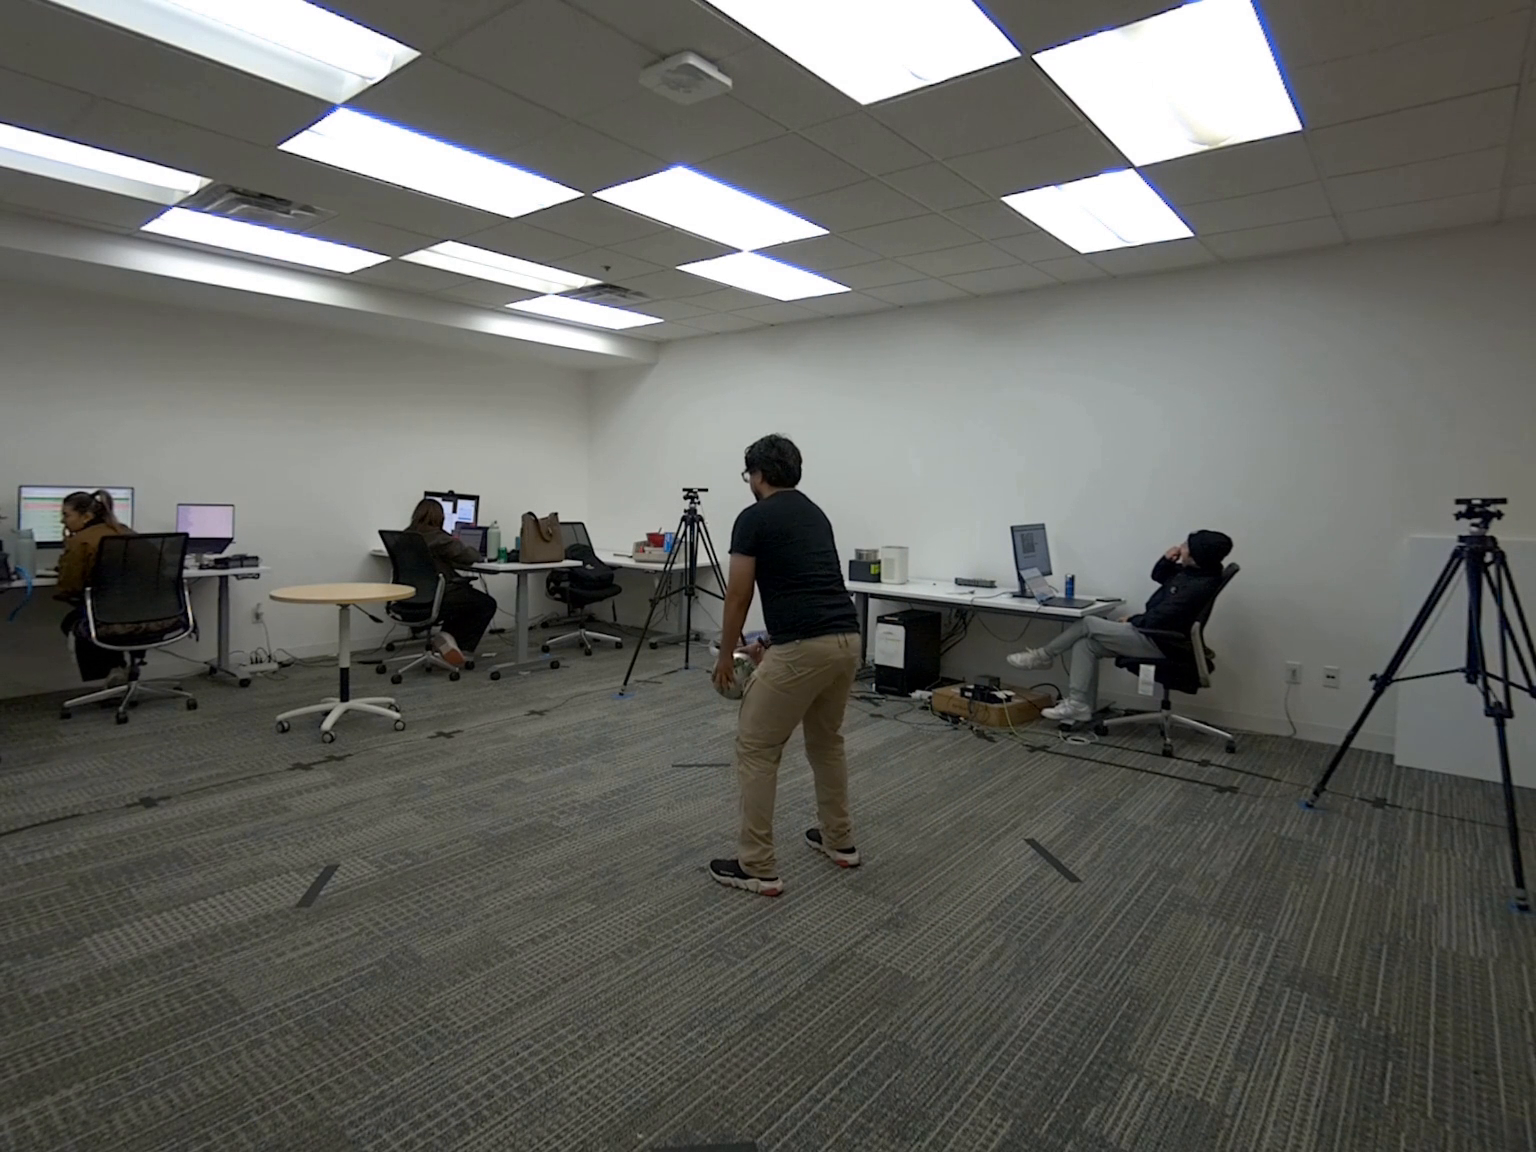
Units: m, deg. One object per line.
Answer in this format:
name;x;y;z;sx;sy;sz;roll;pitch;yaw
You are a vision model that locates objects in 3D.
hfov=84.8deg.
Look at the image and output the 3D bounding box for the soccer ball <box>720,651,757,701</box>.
soccer ball;-0.136;0.392;3.325;0.187;0.187;0.188;1;4;-2
